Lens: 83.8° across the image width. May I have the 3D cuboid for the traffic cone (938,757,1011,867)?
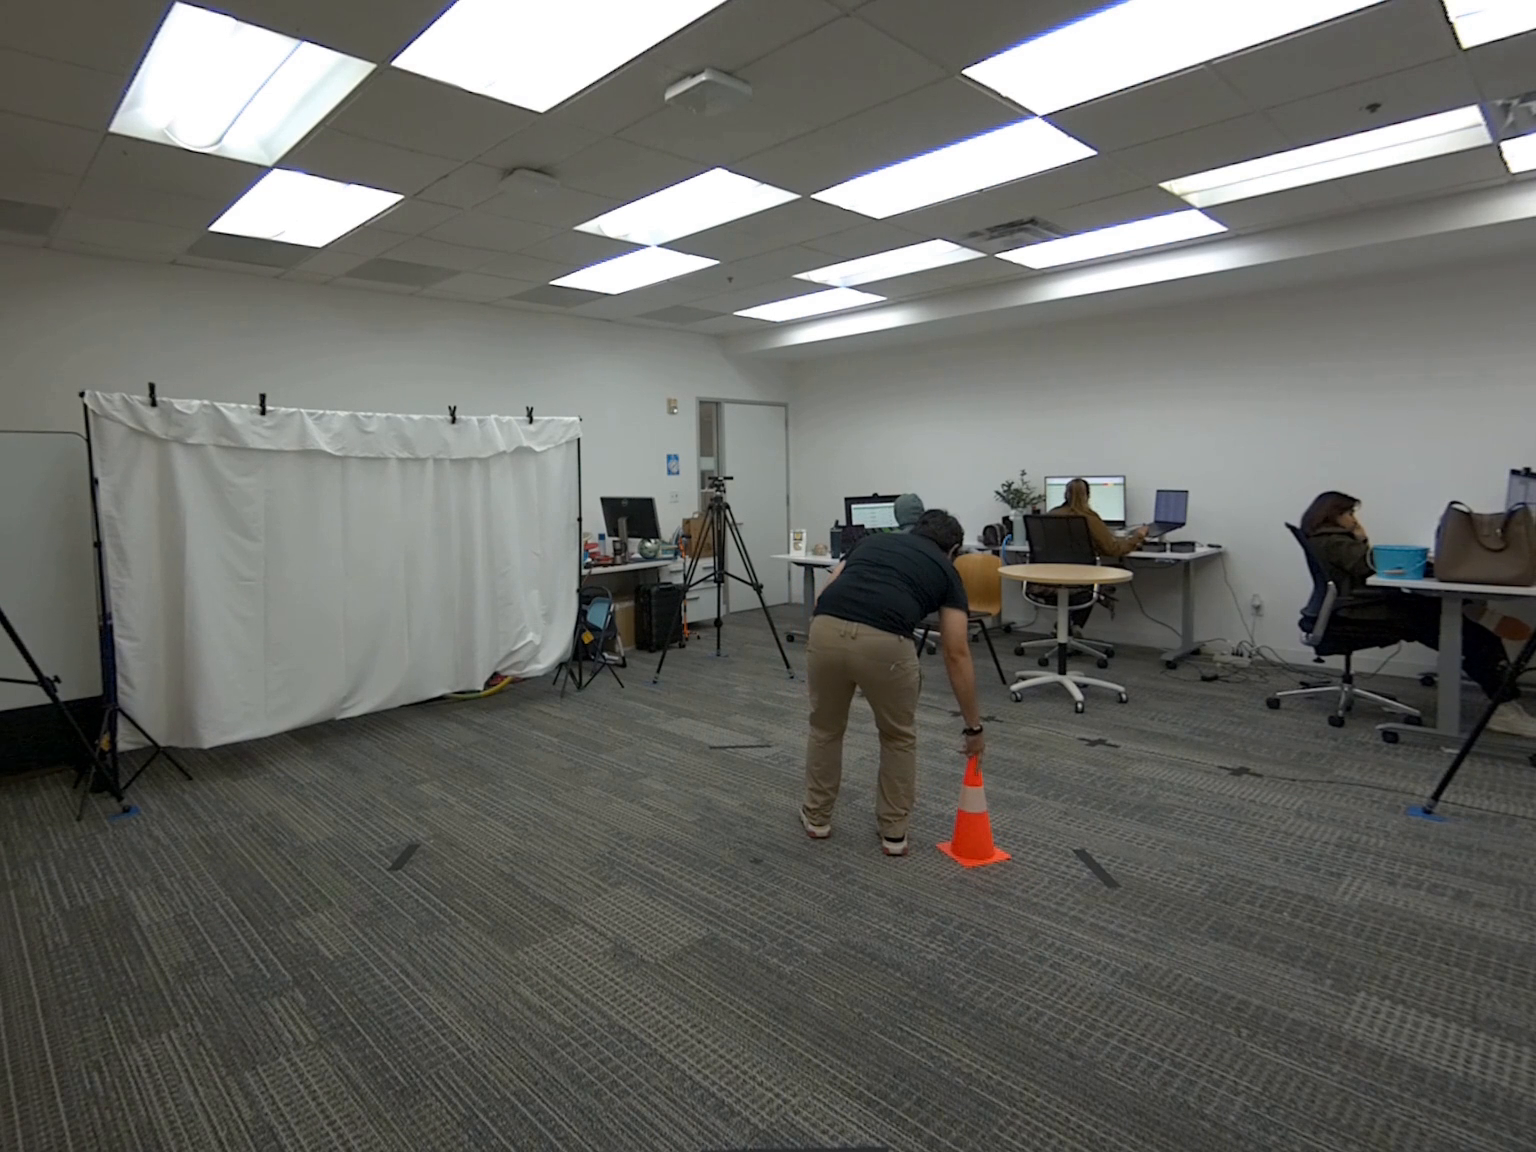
[{"bbox_3d":[0.757,0.835,3.136,0.201,0.382,0.208,-2,5,-15],"label":"traffic cone"}]
